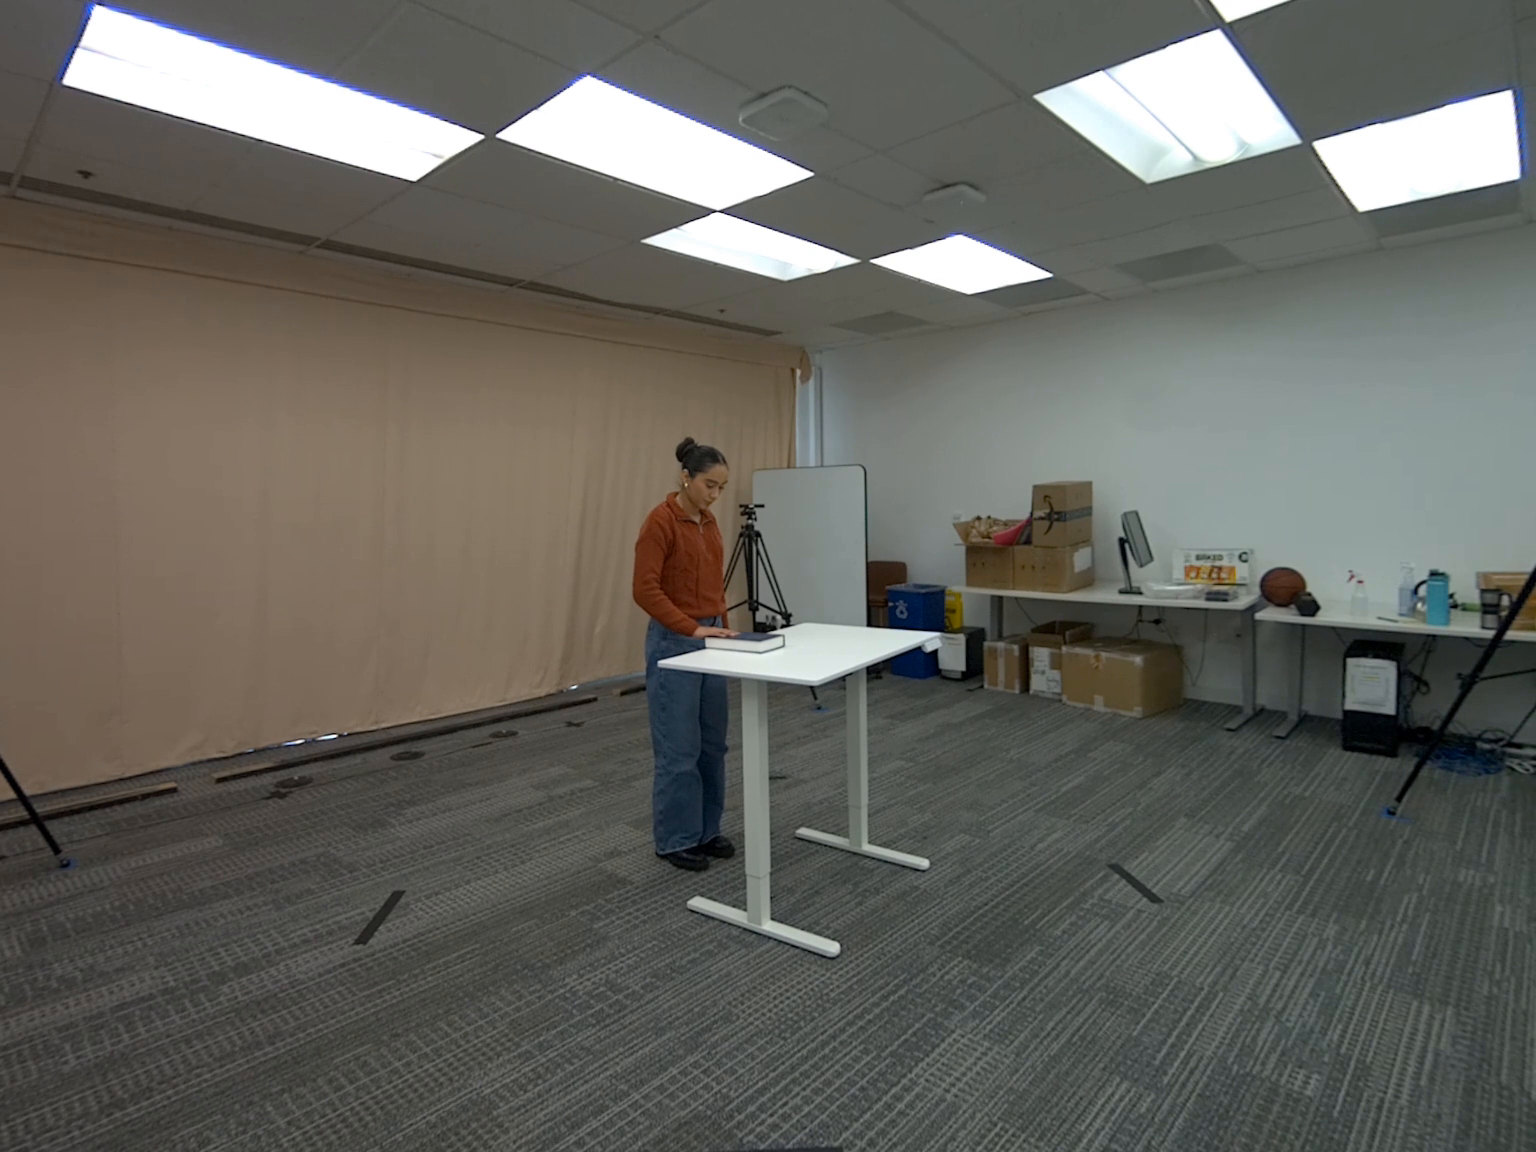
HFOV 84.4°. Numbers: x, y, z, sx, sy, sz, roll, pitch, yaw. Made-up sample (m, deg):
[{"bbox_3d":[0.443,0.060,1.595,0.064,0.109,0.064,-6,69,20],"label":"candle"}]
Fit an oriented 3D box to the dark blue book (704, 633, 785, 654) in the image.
[{"bbox_3d":[-0.087,0.239,3.019,0.252,0.045,0.159,1,6,33],"label":"dark blue book"}]
